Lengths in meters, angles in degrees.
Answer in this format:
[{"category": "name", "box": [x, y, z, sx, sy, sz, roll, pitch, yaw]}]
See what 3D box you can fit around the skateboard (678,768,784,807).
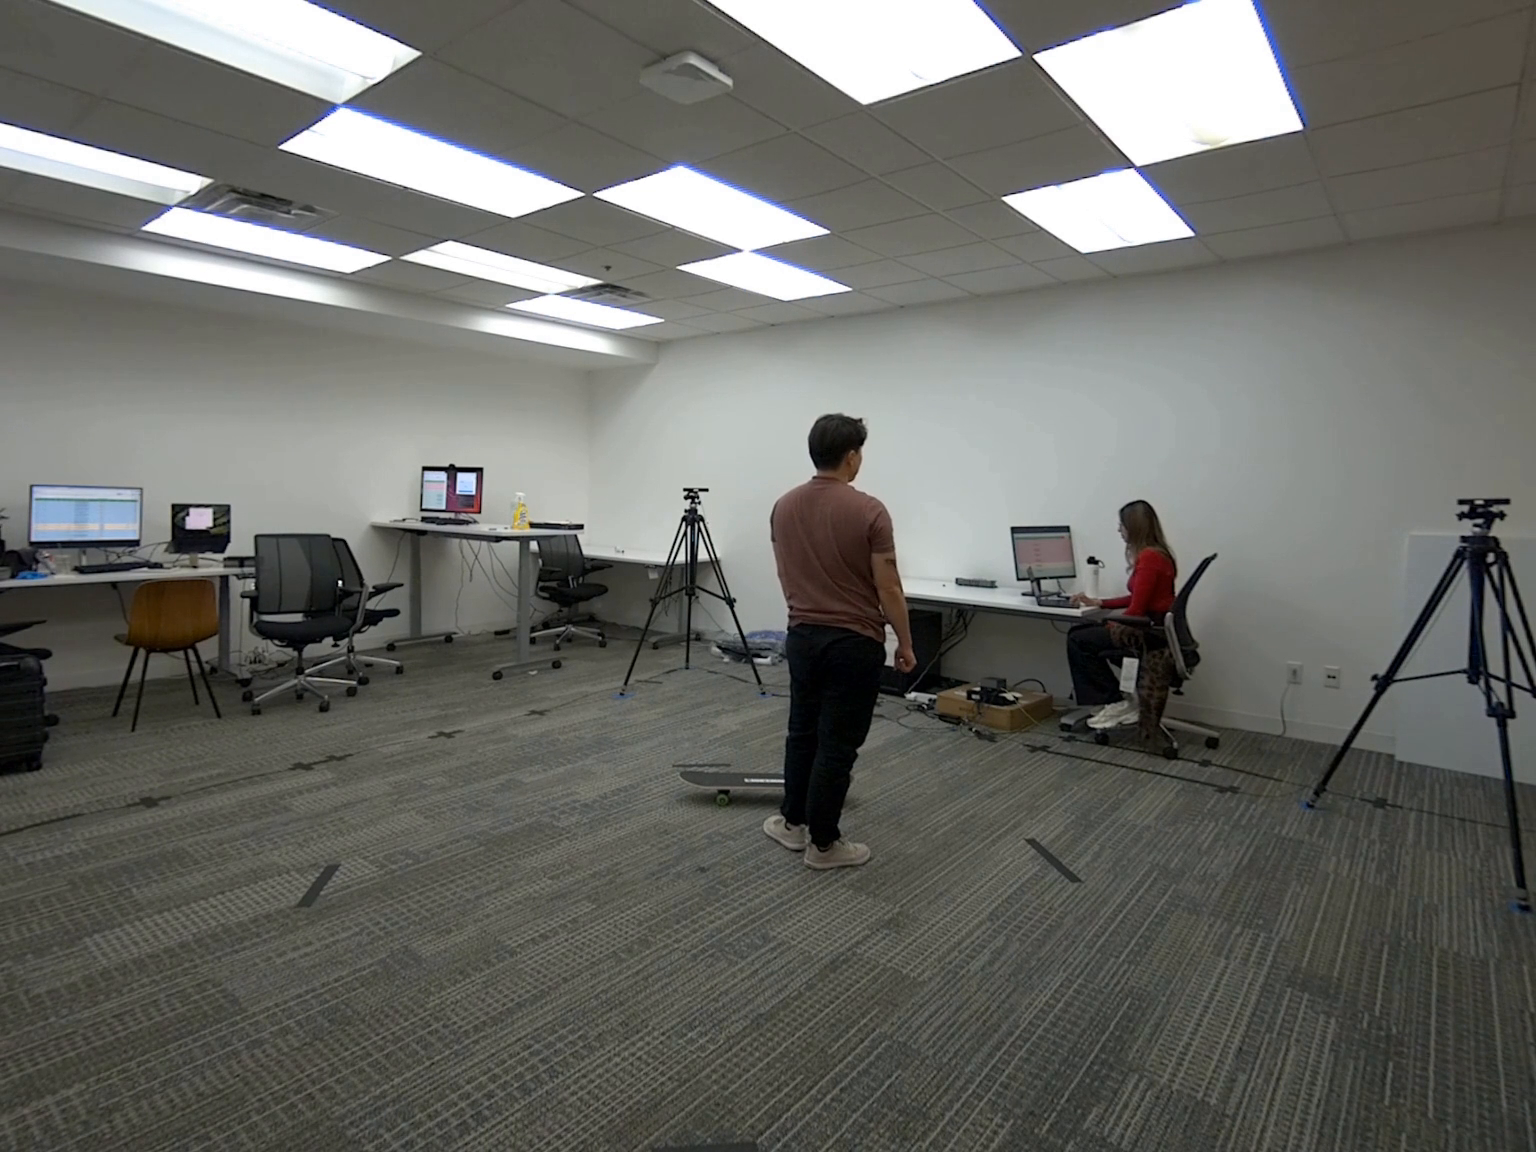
[{"category": "skateboard", "box": [-0.019, 0.948, 3.819, 0.784, 0.110, 0.194, 2, 5, -1]}]
